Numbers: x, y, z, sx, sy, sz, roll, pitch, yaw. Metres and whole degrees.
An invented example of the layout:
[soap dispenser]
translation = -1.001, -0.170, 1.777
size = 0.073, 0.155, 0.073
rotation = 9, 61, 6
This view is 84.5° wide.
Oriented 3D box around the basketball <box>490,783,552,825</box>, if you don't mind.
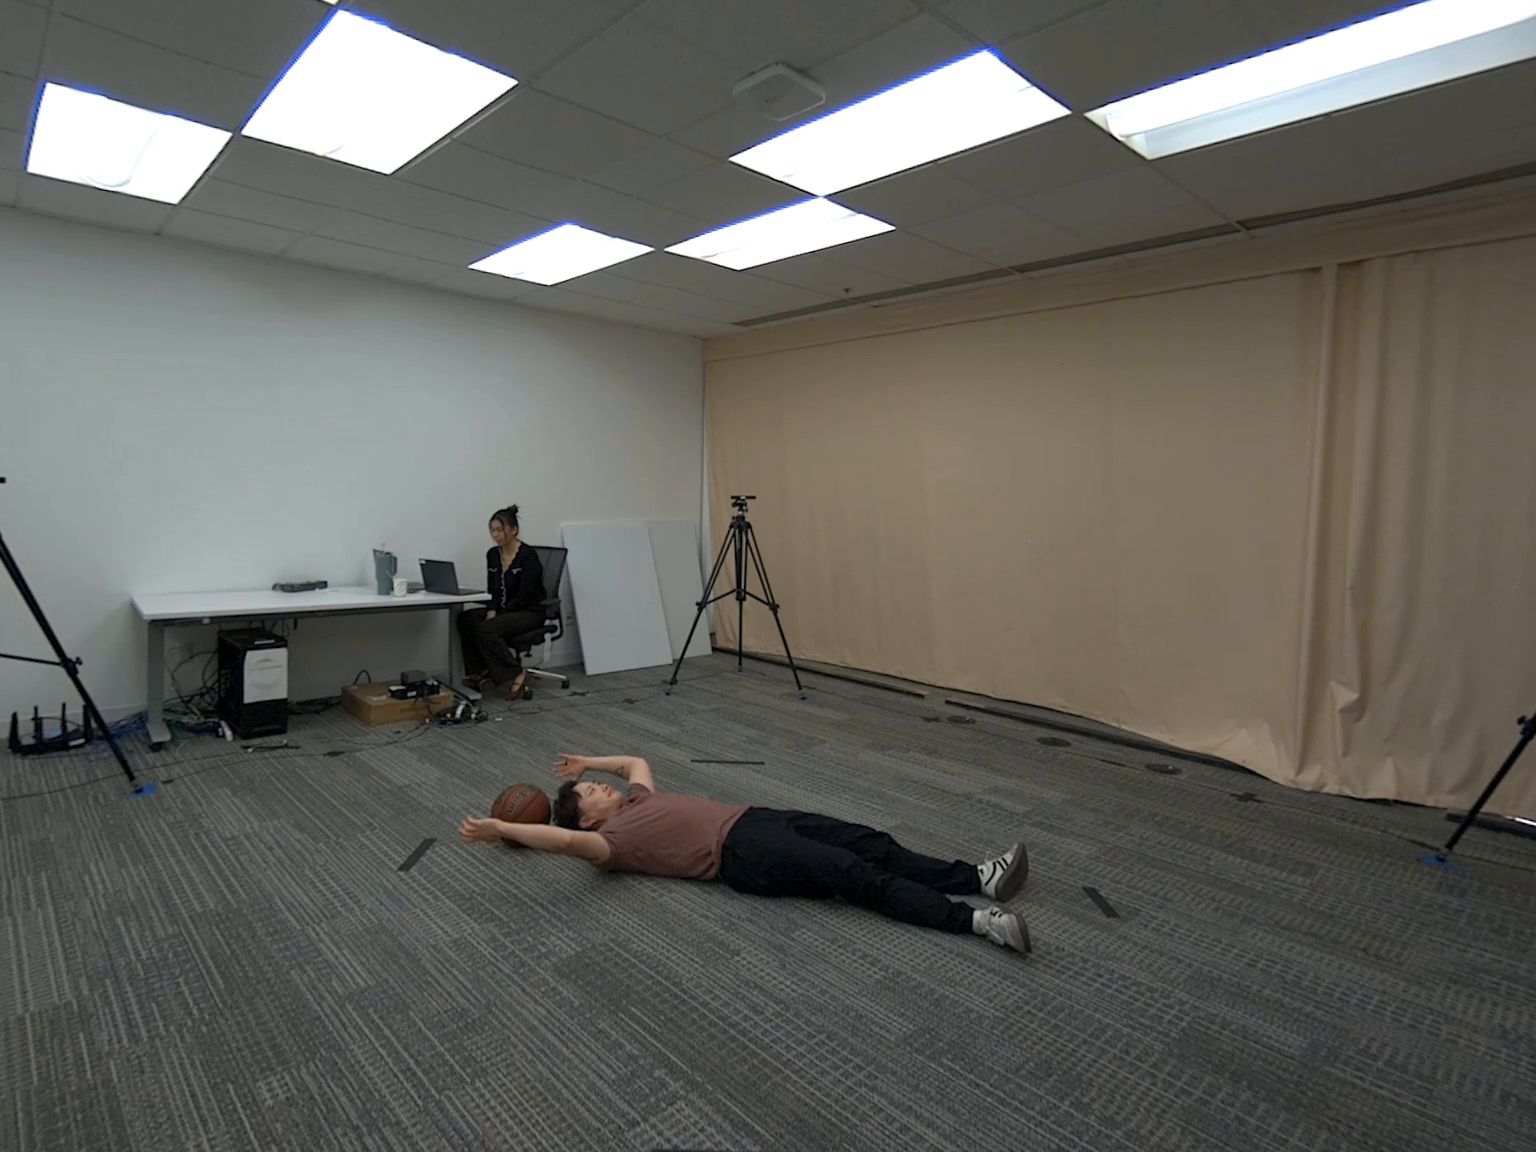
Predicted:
[basketball]
translation = -0.984, 0.941, 3.326
size = 0.236, 0.234, 0.237
rotation = 0, 8, -1
